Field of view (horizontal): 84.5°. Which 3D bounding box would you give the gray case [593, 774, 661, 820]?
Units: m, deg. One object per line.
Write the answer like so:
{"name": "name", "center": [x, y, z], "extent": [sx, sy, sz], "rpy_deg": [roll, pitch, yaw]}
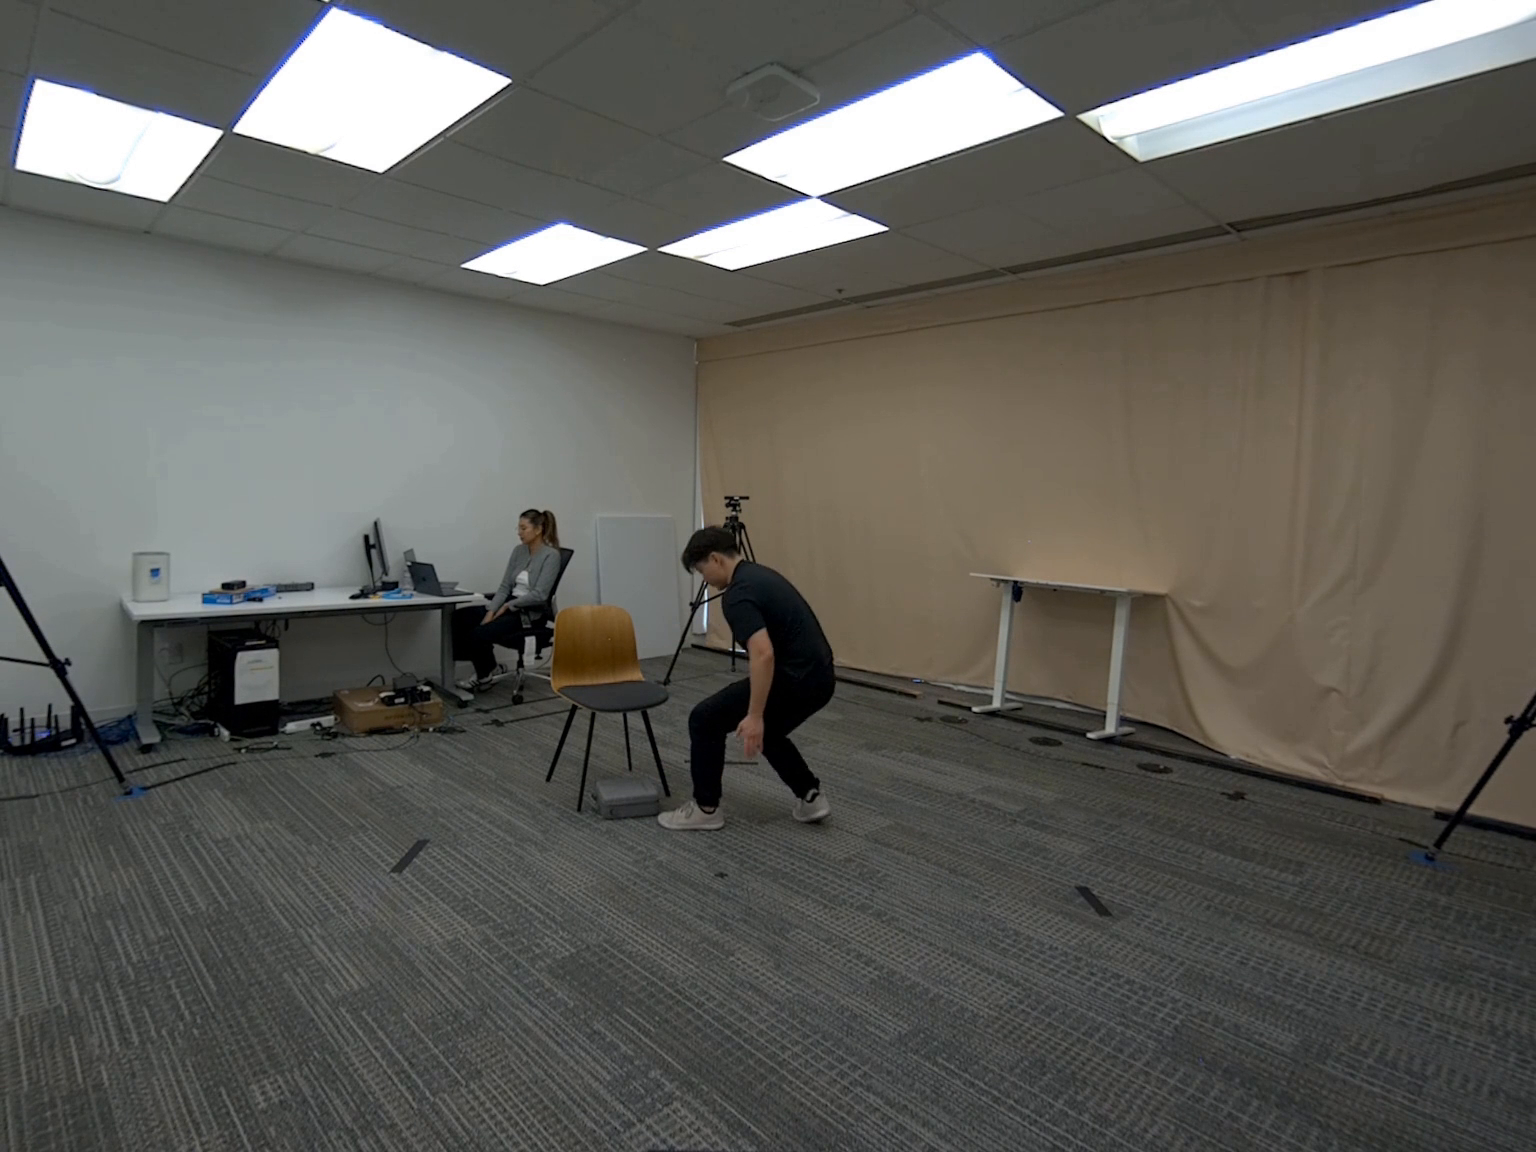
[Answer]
{"name": "gray case", "center": [-0.636, 0.979, 3.745], "extent": [0.257, 0.104, 0.261], "rpy_deg": [-1, 7, -16]}
